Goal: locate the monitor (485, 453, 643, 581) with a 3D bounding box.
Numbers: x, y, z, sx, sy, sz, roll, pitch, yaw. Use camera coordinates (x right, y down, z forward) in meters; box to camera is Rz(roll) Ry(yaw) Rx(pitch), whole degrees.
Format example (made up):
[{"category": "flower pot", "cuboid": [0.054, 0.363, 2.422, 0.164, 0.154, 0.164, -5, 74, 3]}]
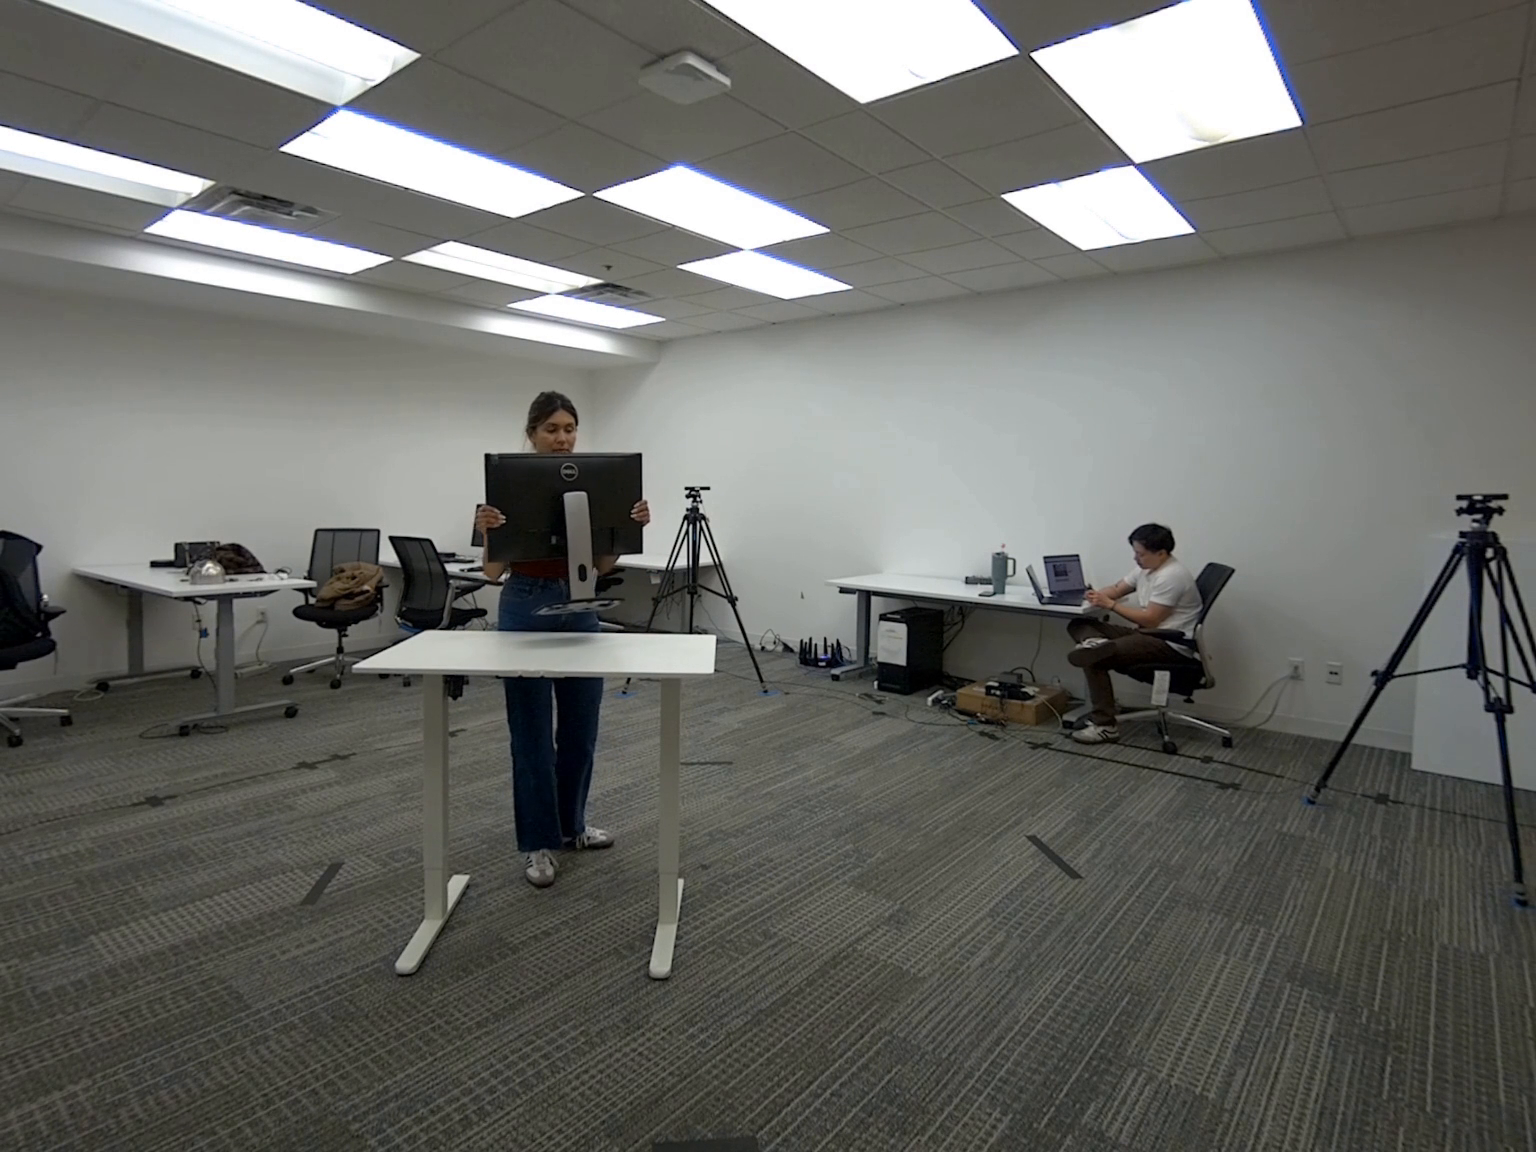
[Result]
[{"category": "monitor", "cuboid": [-0.653, -0.149, 2.791, 0.525, 0.527, 0.190, -3, -9, -29]}]
